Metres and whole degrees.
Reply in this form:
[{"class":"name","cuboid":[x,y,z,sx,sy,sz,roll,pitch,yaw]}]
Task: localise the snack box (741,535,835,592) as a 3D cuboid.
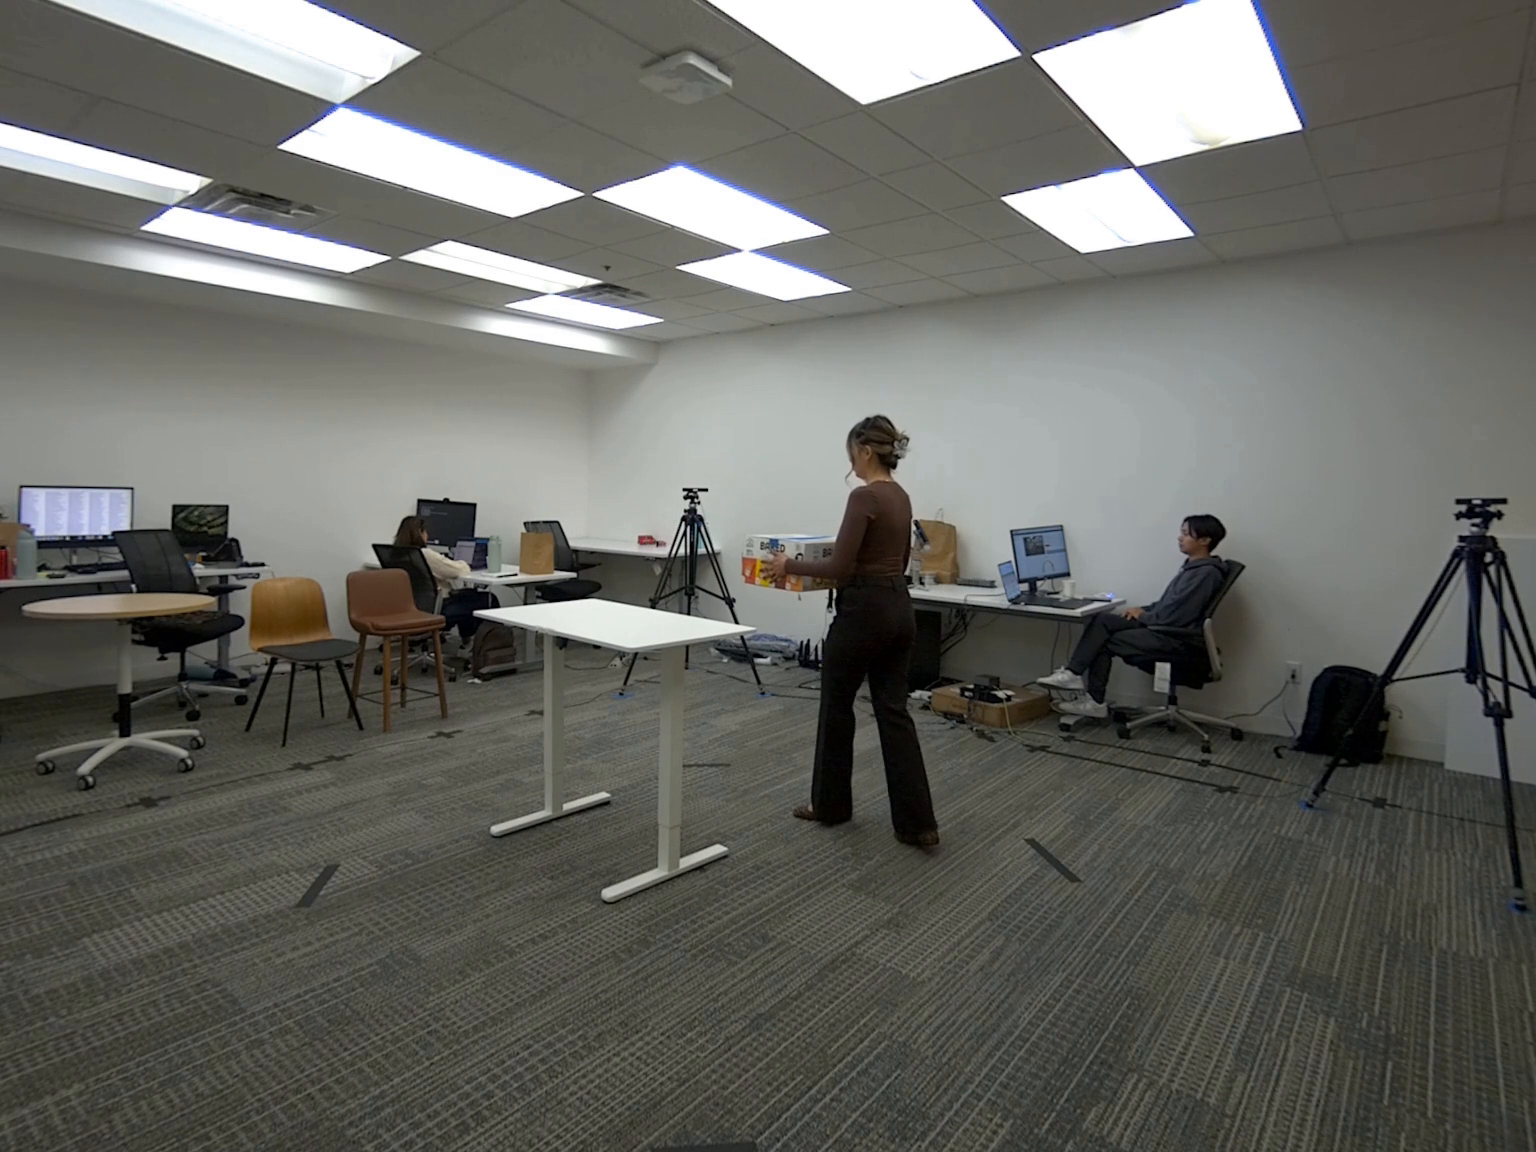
[{"class":"snack box","cuboid":[0.133,-0.070,3.686,0.352,0.204,0.393,9,9,42]}]
